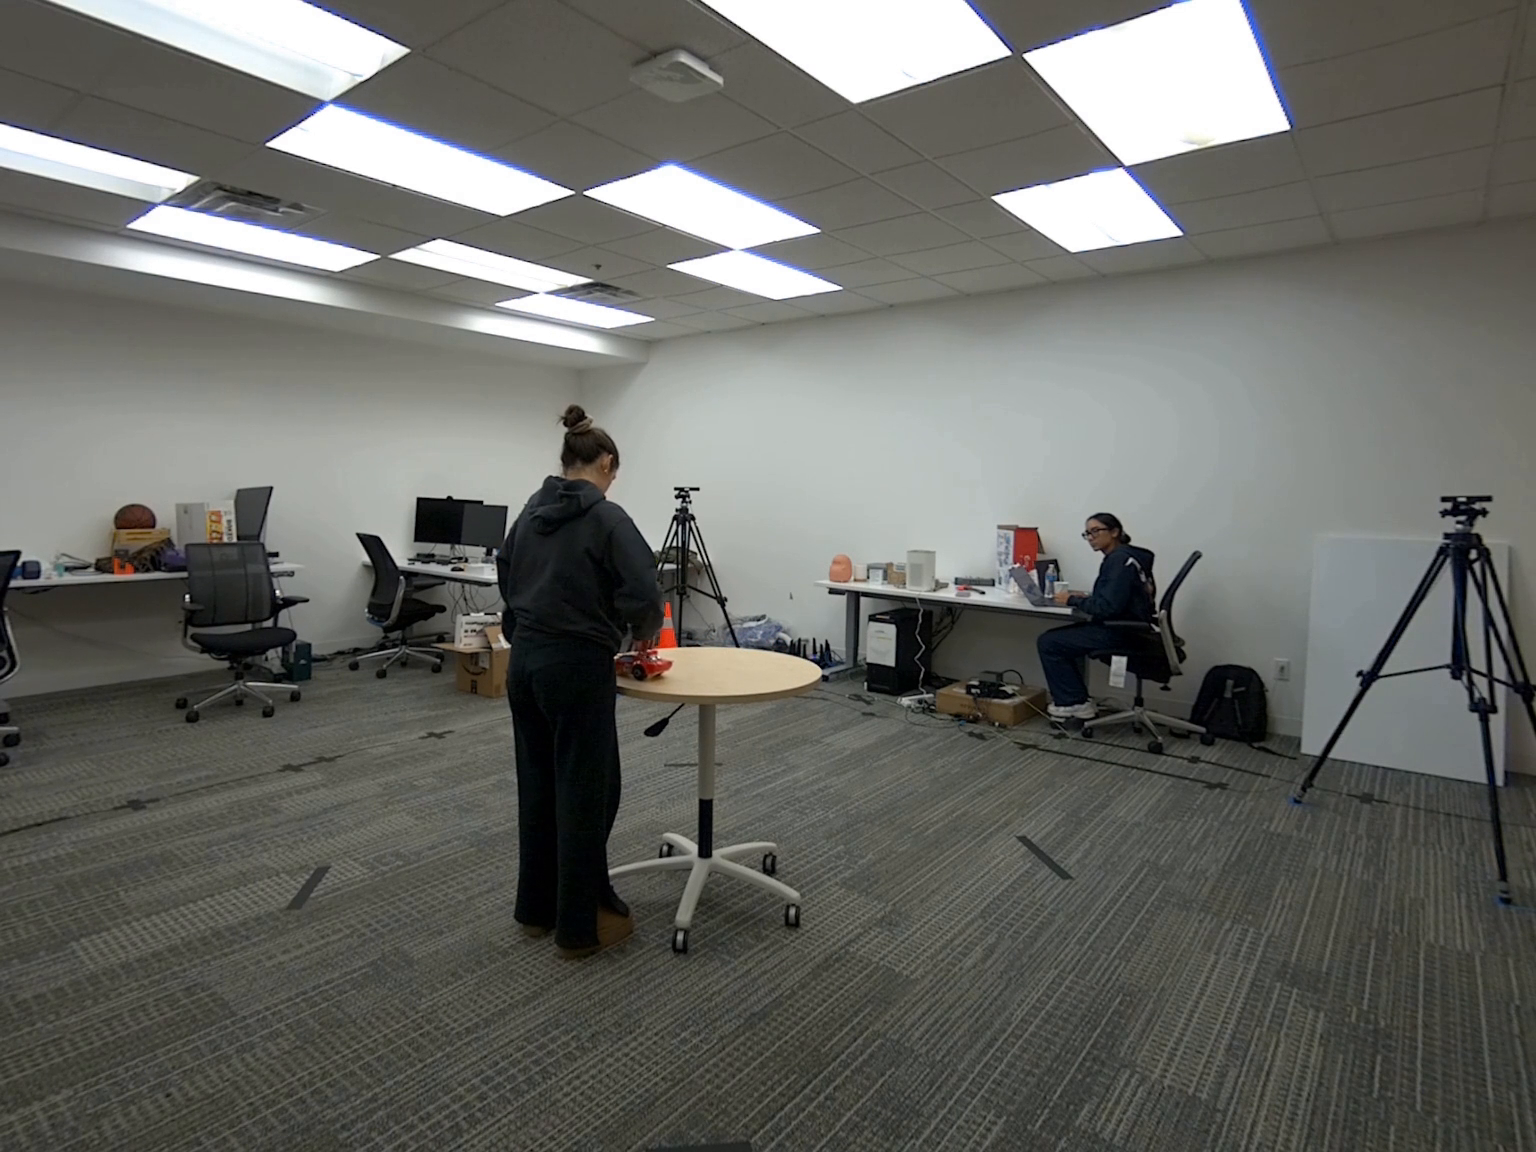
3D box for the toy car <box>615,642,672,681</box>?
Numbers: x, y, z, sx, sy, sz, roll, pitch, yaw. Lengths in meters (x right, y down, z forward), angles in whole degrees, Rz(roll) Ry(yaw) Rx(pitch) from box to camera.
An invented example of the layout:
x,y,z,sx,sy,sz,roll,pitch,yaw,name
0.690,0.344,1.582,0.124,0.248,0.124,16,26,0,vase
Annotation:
x,y,z,sx,sy,sz,roll,pitch,yaw,name
-0.419,0.290,2.733,0.261,0.083,0.127,-9,-1,32,toy car
